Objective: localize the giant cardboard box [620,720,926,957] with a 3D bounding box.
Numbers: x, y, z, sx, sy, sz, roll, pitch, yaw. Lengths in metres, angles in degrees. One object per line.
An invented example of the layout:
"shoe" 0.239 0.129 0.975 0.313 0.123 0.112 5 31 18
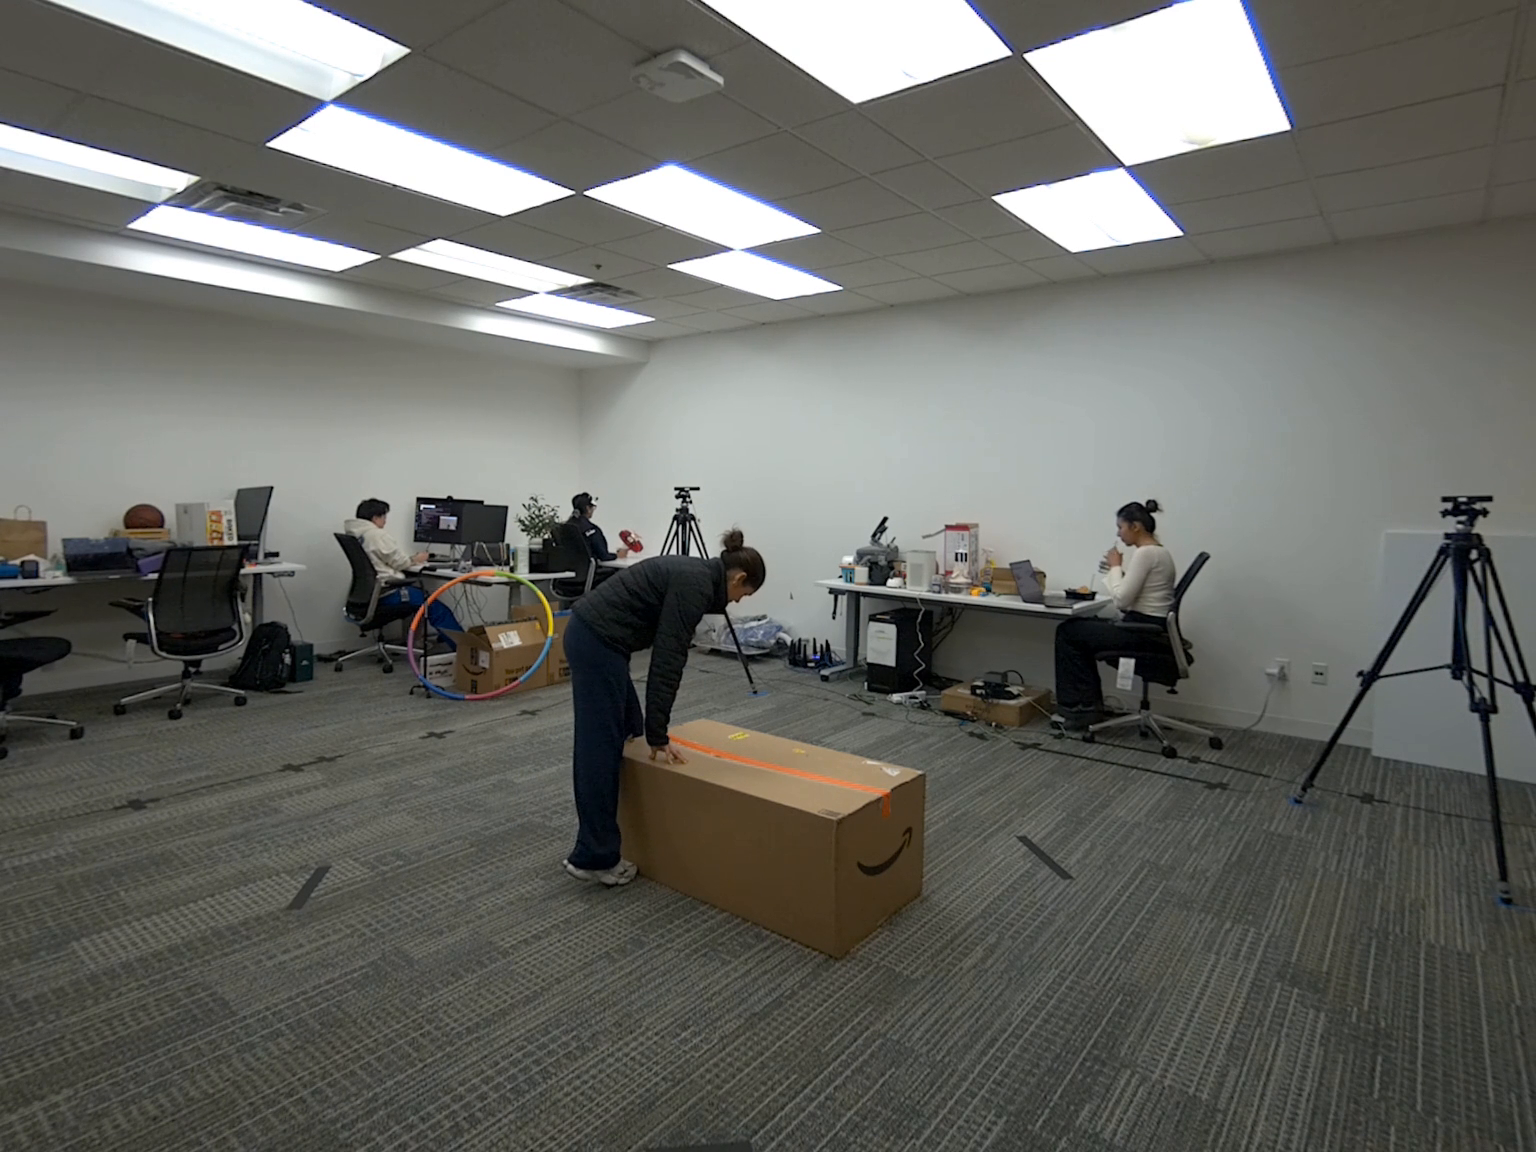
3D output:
"giant cardboard box" -0.022 0.866 3.060 1.062 0.445 0.567 6 8 38
